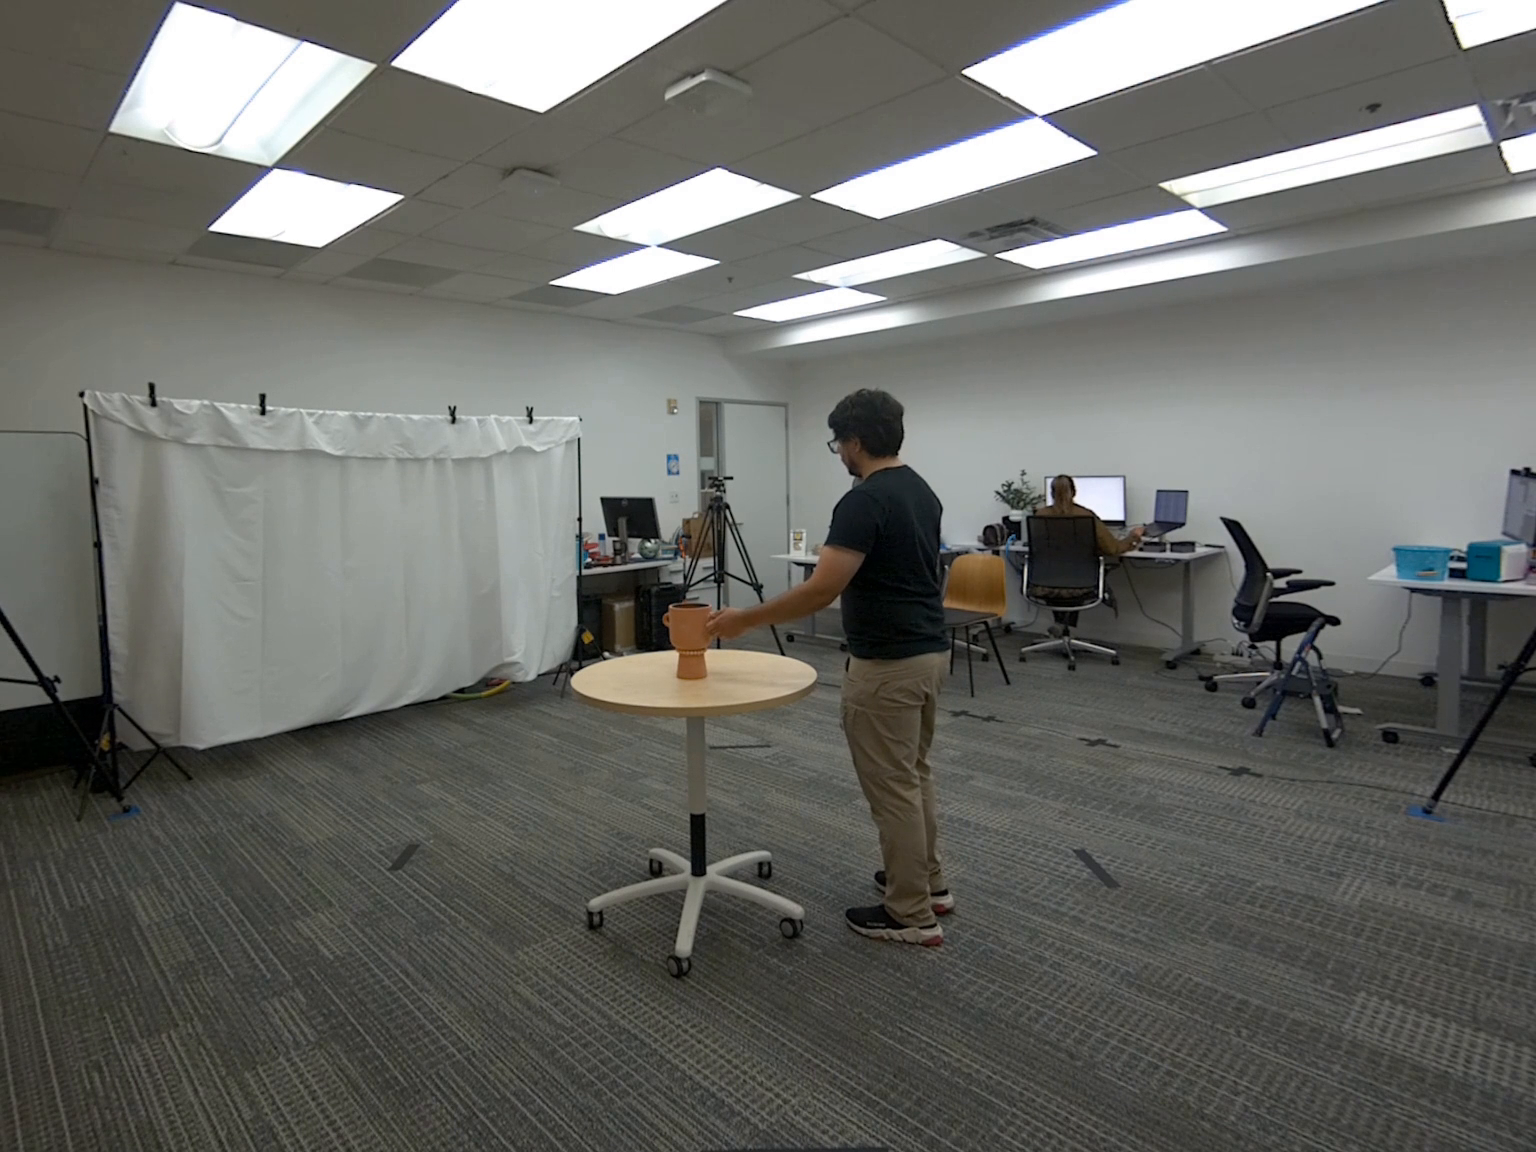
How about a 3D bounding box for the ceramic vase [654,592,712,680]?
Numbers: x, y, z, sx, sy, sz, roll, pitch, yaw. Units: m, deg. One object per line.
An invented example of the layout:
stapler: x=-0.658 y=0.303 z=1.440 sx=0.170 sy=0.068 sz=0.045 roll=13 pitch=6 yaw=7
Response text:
ceramic vase: x=-0.235 y=0.198 z=2.645 sx=0.132 sy=0.219 sz=0.163 roll=-2 pitch=4 yaw=-26
